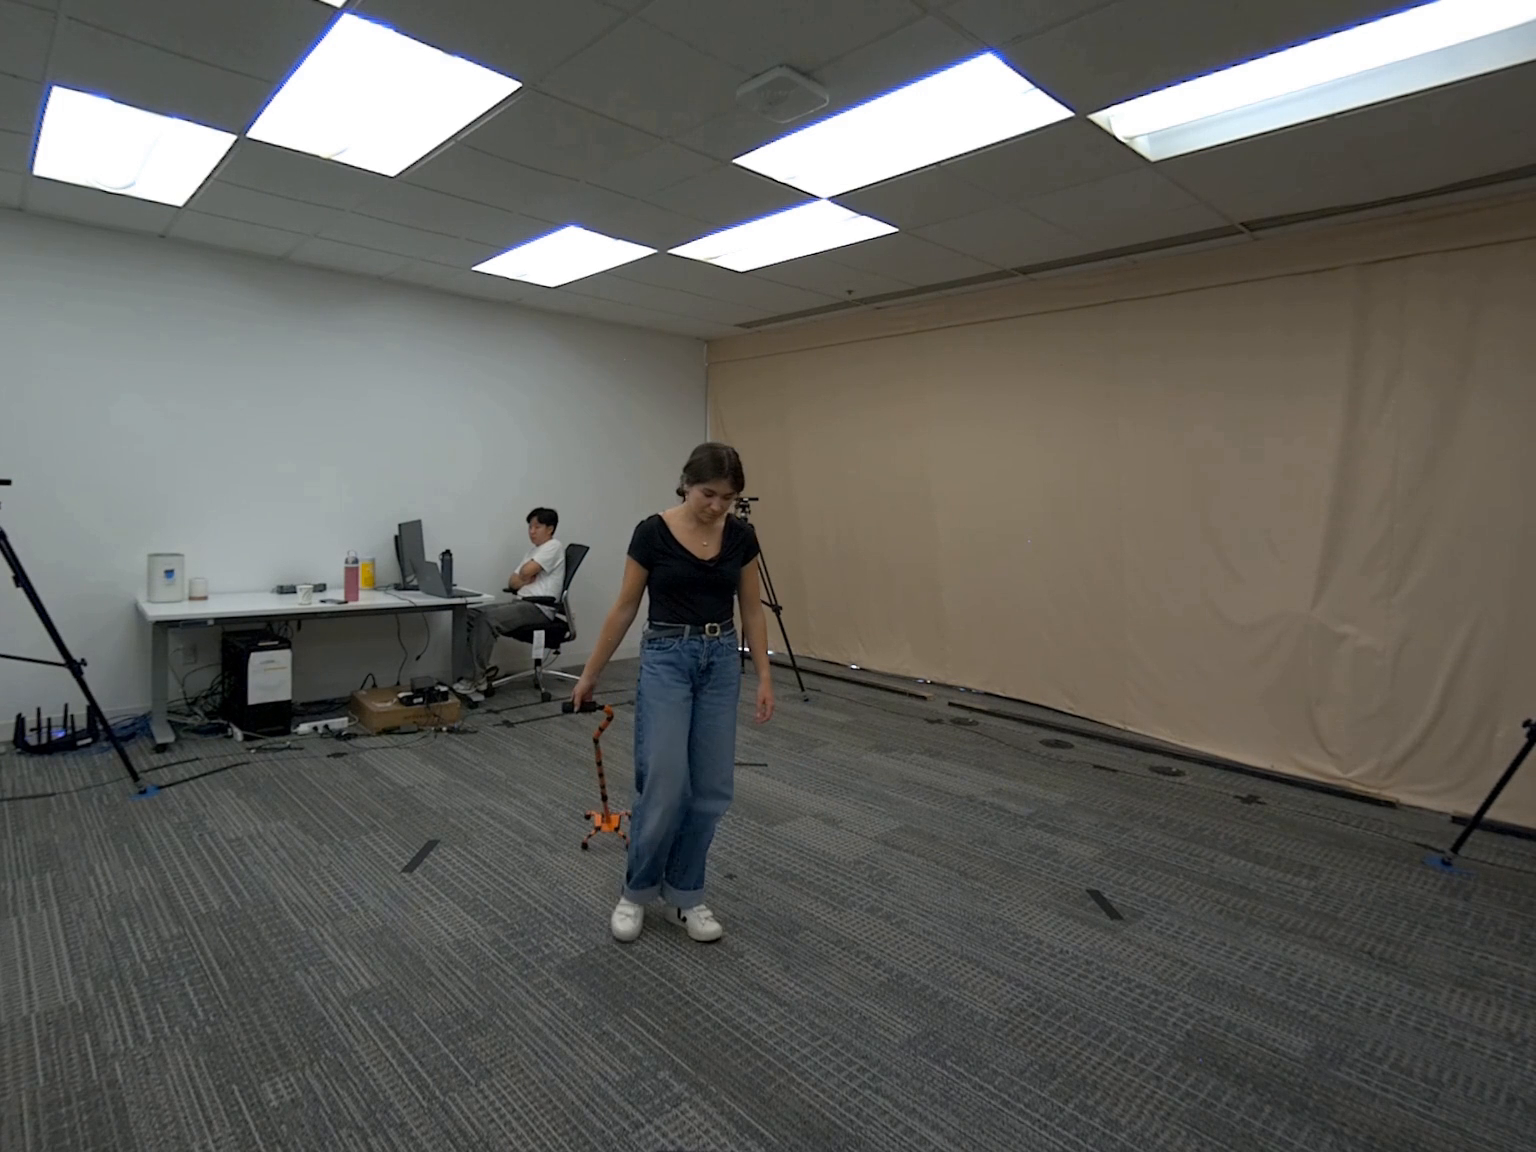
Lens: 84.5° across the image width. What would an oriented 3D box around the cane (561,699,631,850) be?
[{"bbox_3d":[-0.613,0.729,3.033,0.206,0.889,0.155,2,48,-3],"label":"cane"}]
